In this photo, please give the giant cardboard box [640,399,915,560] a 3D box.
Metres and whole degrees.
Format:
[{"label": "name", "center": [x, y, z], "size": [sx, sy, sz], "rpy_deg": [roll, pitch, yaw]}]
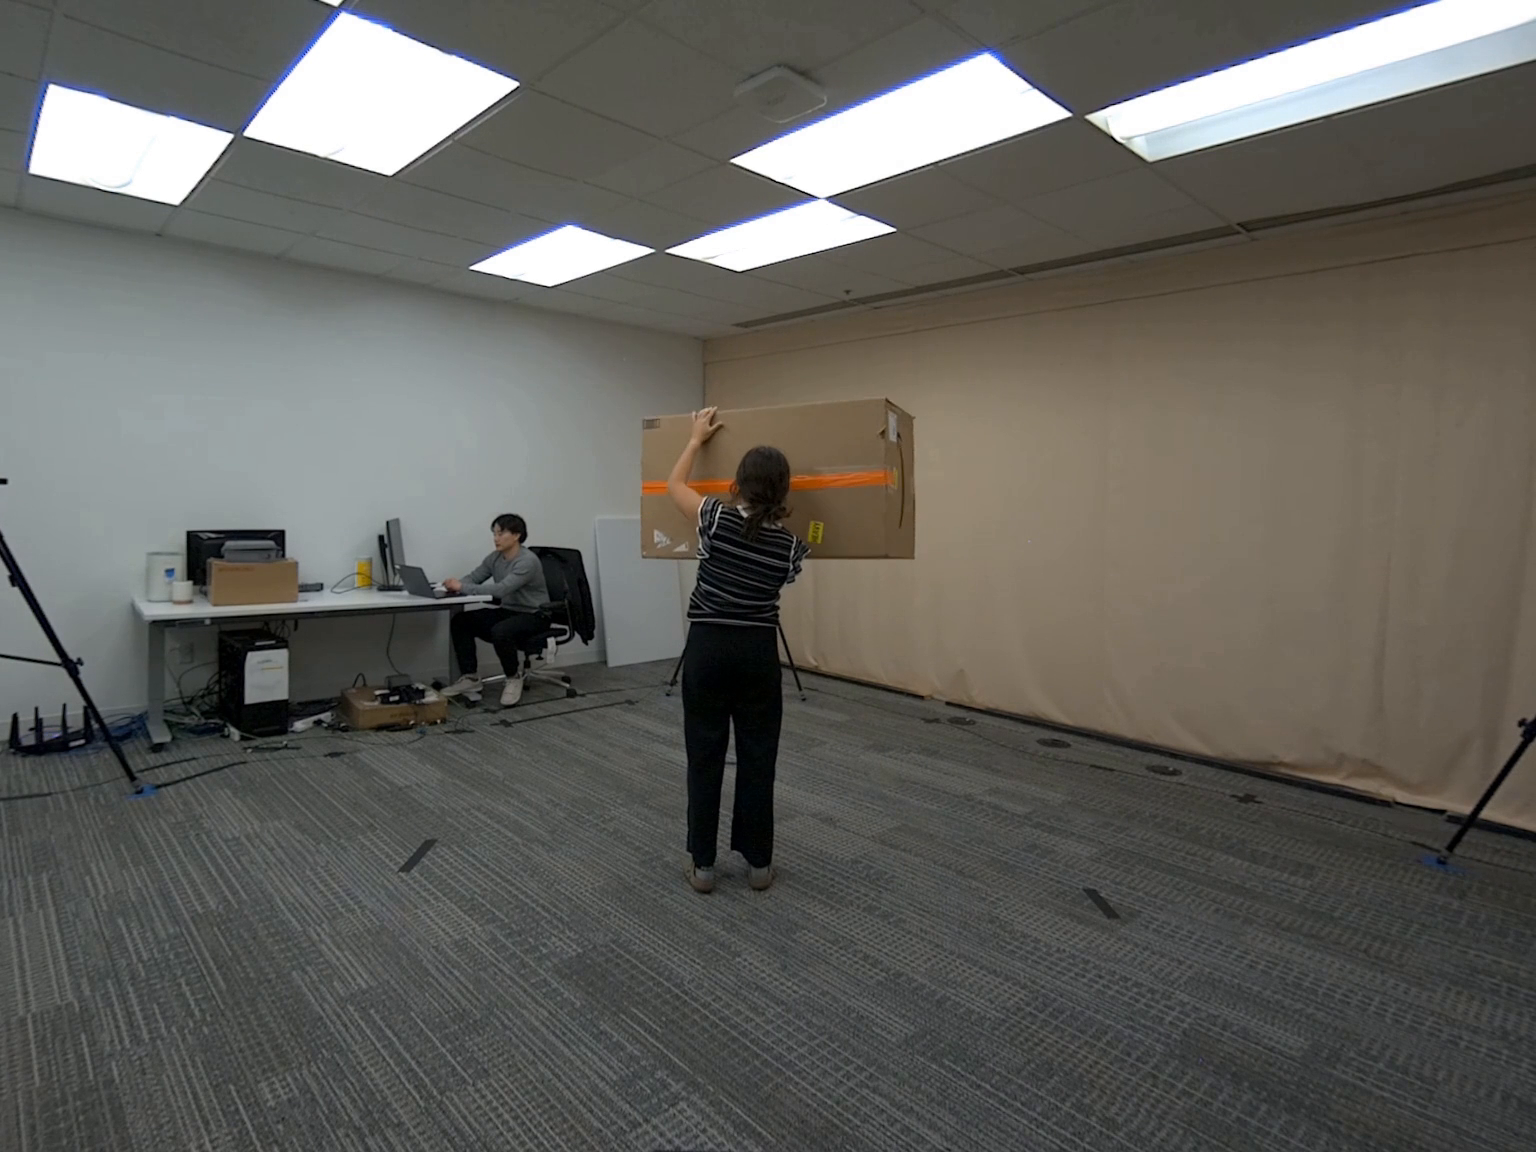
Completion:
[{"label": "giant cardboard box", "center": [0.031, -0.357, 3.385], "size": [1.044, 0.578, 0.418], "rpy_deg": [0, -1, 24]}]
